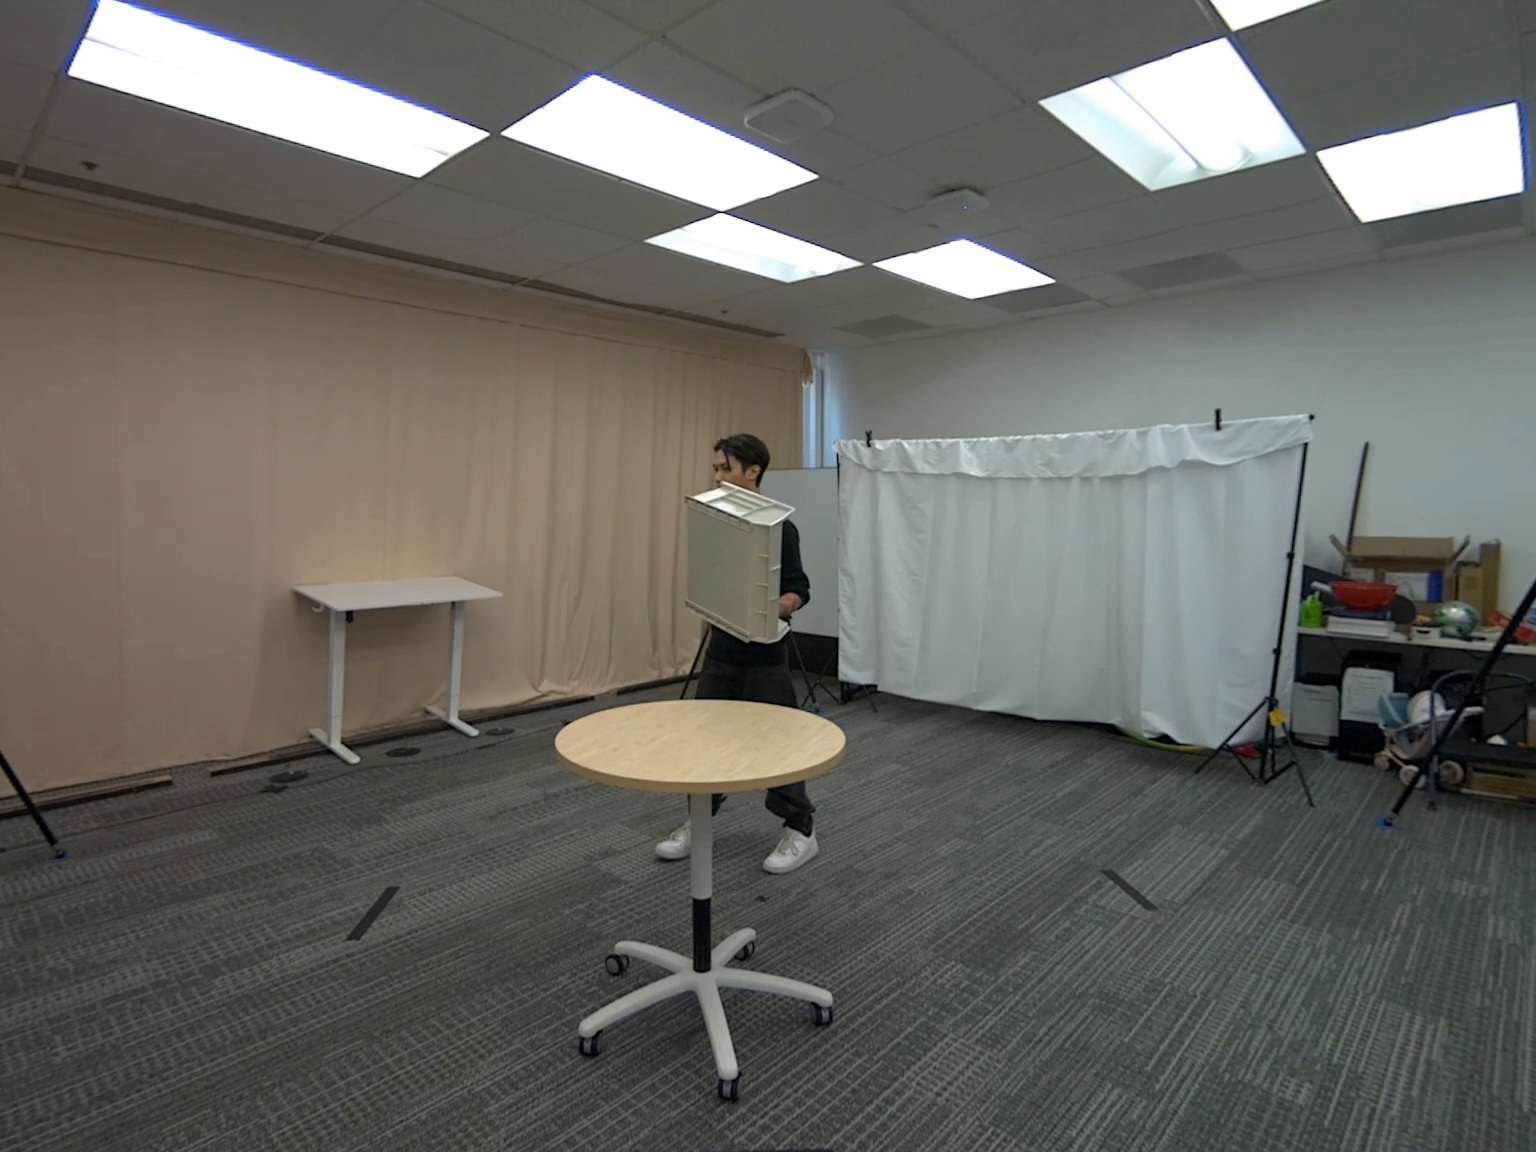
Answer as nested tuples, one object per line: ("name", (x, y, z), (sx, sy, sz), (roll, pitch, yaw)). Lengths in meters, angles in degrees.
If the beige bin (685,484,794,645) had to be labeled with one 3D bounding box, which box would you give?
("beige bin", (-0.088, -0.041, 2.736), (0.184, 0.416, 0.391), (-20, 31, -39))
